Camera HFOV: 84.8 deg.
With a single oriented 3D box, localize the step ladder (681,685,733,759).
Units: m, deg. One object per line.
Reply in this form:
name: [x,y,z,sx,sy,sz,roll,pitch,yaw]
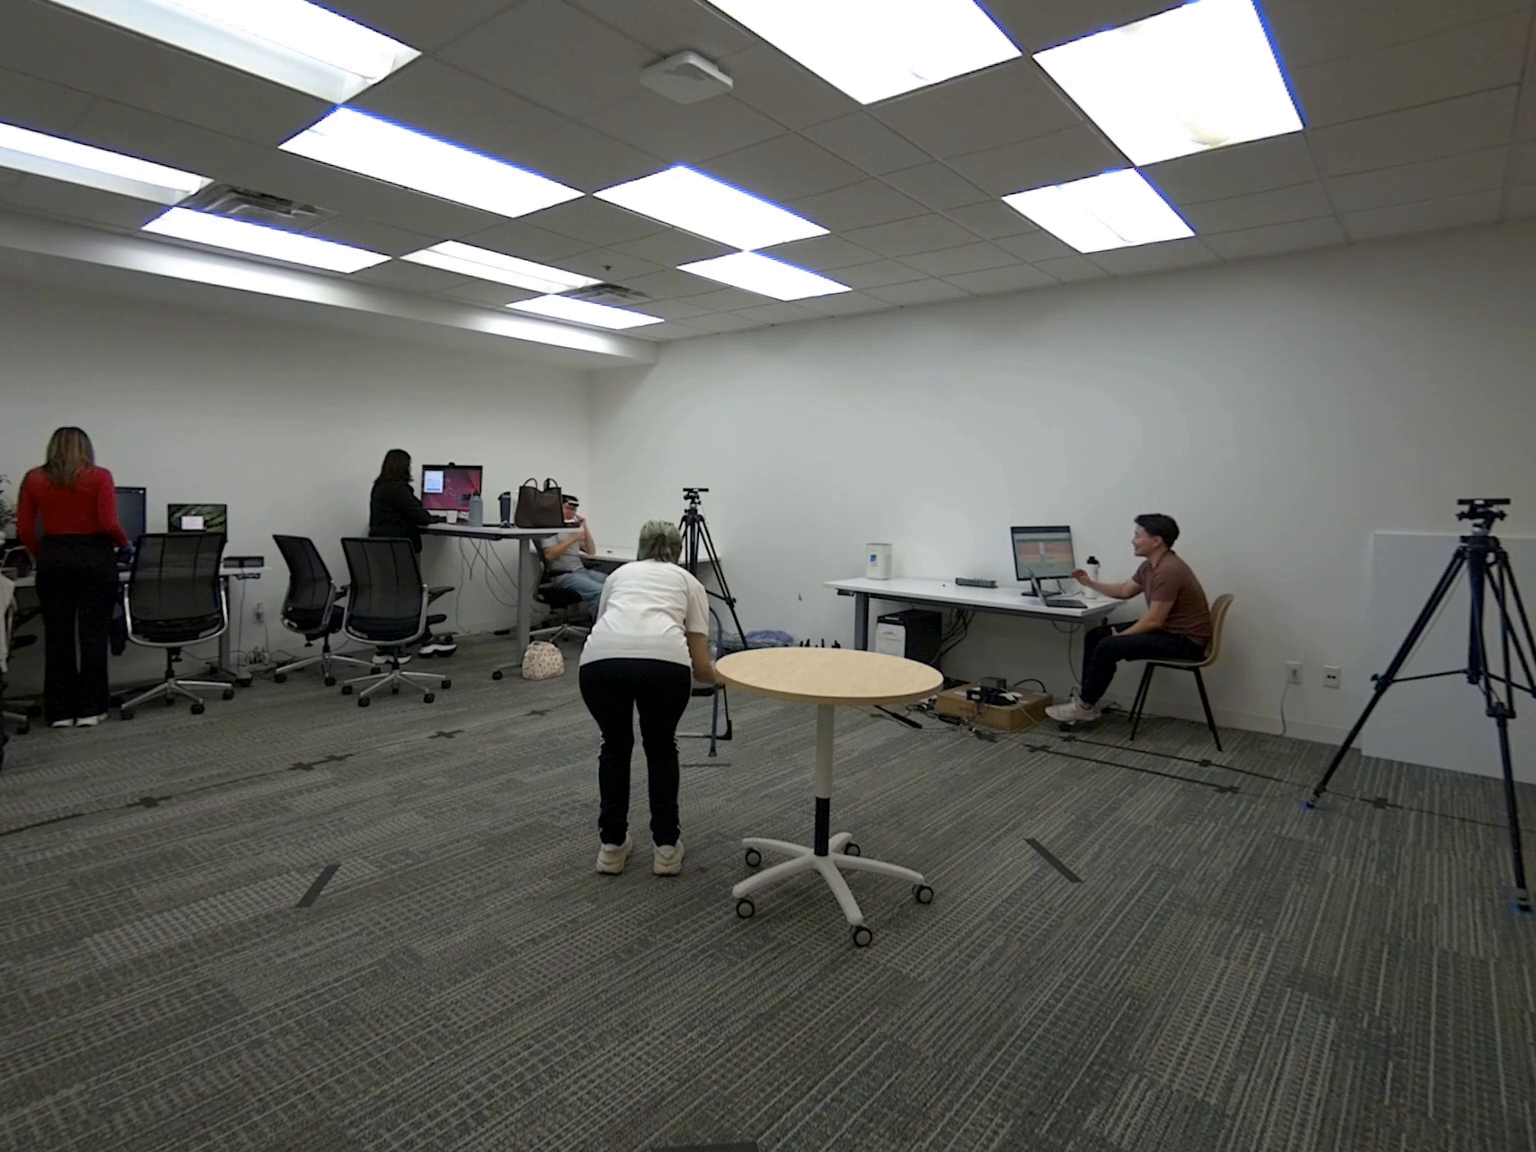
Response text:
step ladder: [-0.400,0.413,3.584,0.437,0.607,0.344,-1,-2,12]
